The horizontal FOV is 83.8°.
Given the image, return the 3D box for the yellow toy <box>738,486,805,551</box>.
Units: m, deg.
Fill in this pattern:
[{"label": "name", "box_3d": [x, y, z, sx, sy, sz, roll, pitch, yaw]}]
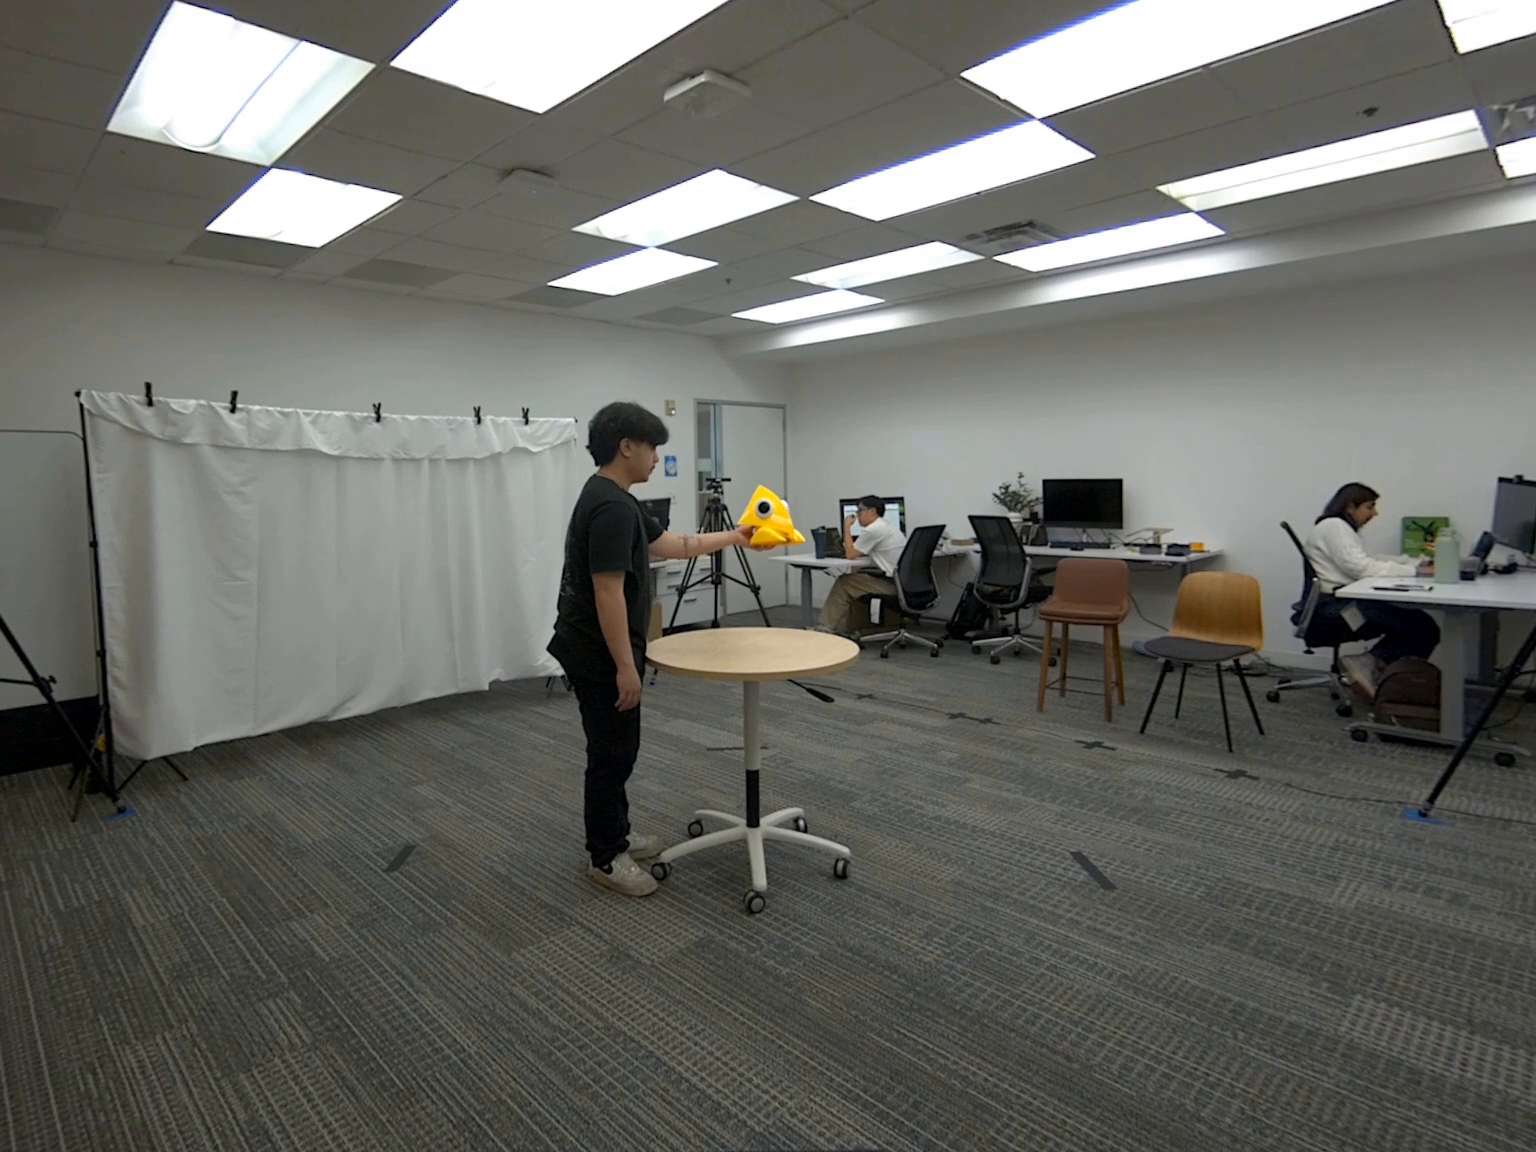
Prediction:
[{"label": "yellow toy", "box_3d": [0.019, -0.231, 3.195, 0.198, 0.232, 0.198, -8, -7, 42]}]
